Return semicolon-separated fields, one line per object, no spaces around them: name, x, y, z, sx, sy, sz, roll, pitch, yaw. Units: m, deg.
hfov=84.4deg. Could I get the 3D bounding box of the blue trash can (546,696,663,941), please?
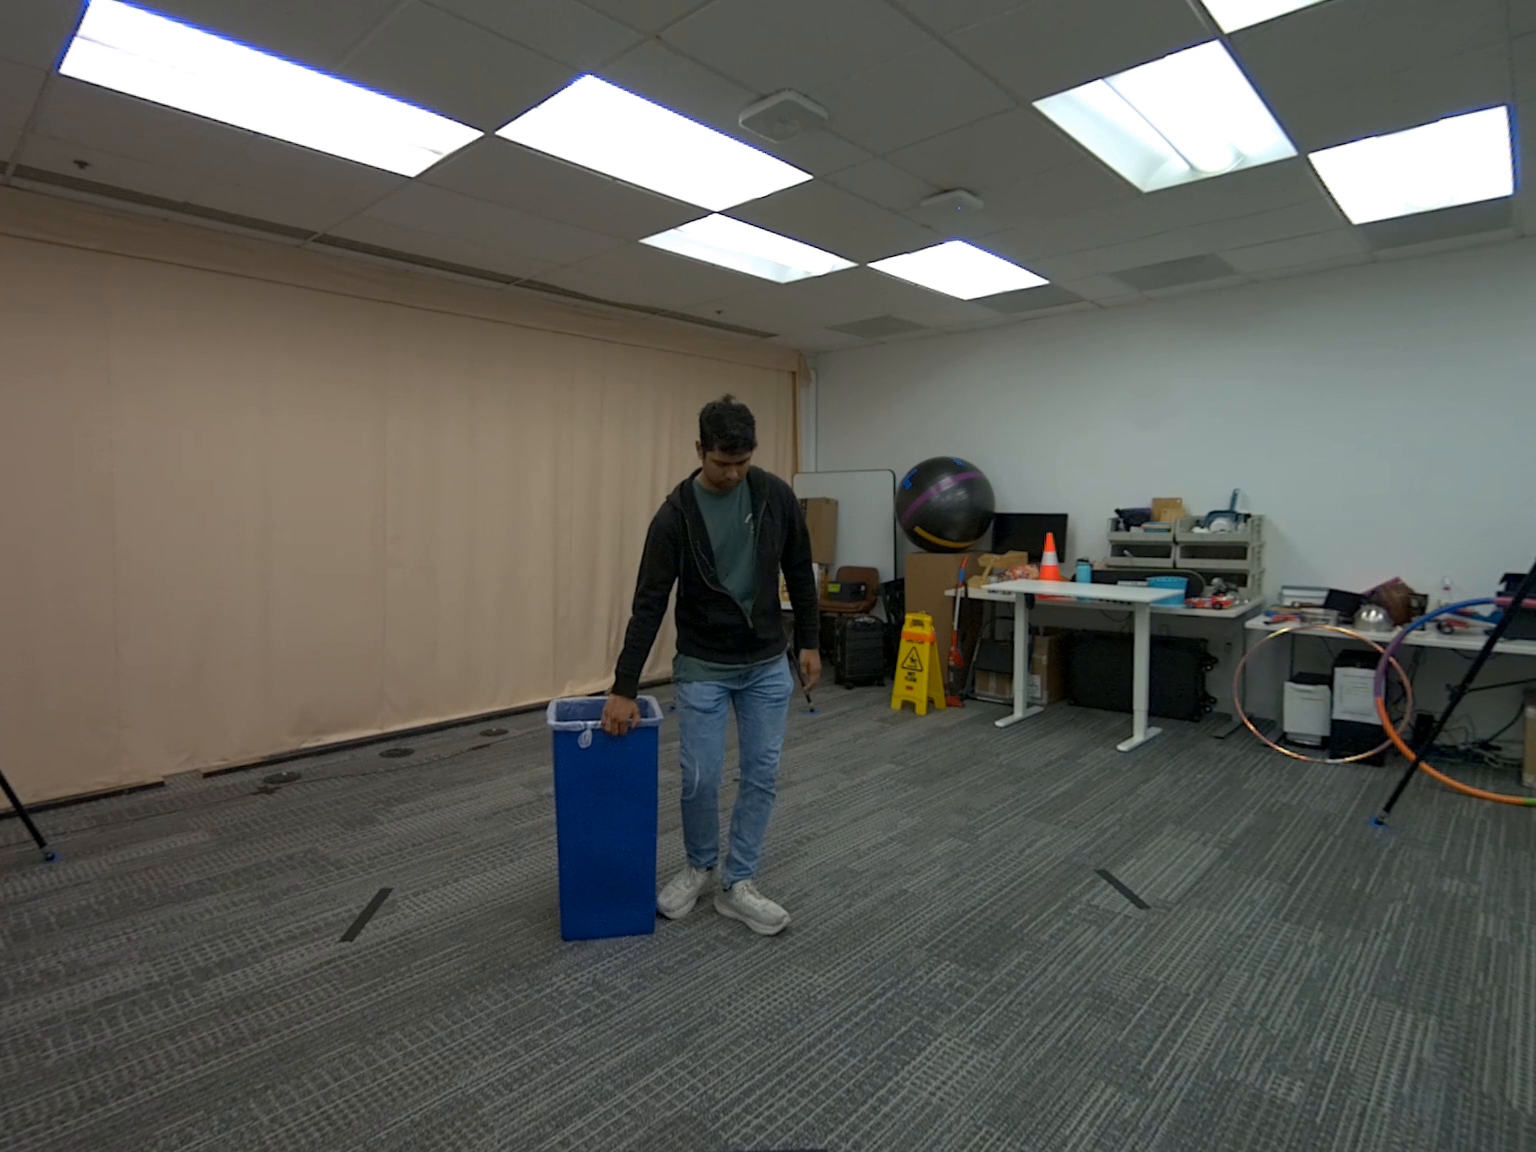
blue trash can;-0.543;0.803;2.857;0.369;0.713;0.383;-2;2;-12
